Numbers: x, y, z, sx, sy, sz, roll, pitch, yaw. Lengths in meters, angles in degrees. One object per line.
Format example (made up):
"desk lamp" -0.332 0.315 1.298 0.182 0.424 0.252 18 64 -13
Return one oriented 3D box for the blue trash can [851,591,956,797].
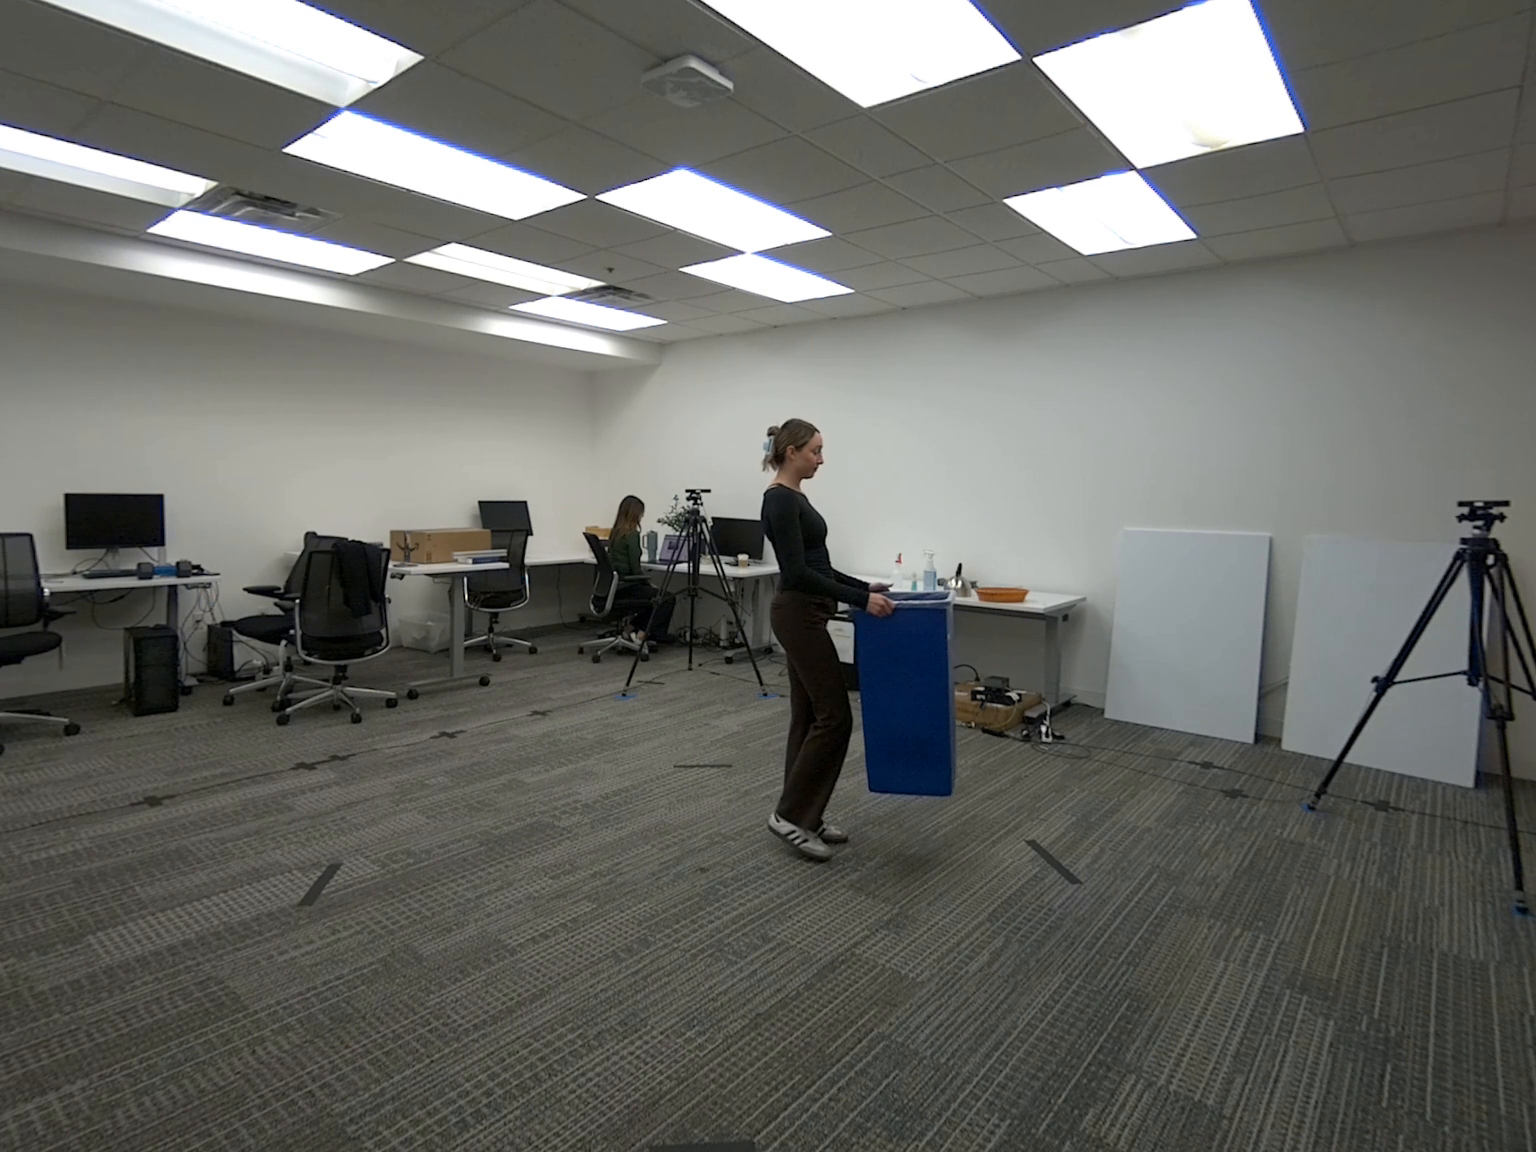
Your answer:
"blue trash can" 0.530 0.437 3.248 0.385 0.712 0.368 -3 2 17
